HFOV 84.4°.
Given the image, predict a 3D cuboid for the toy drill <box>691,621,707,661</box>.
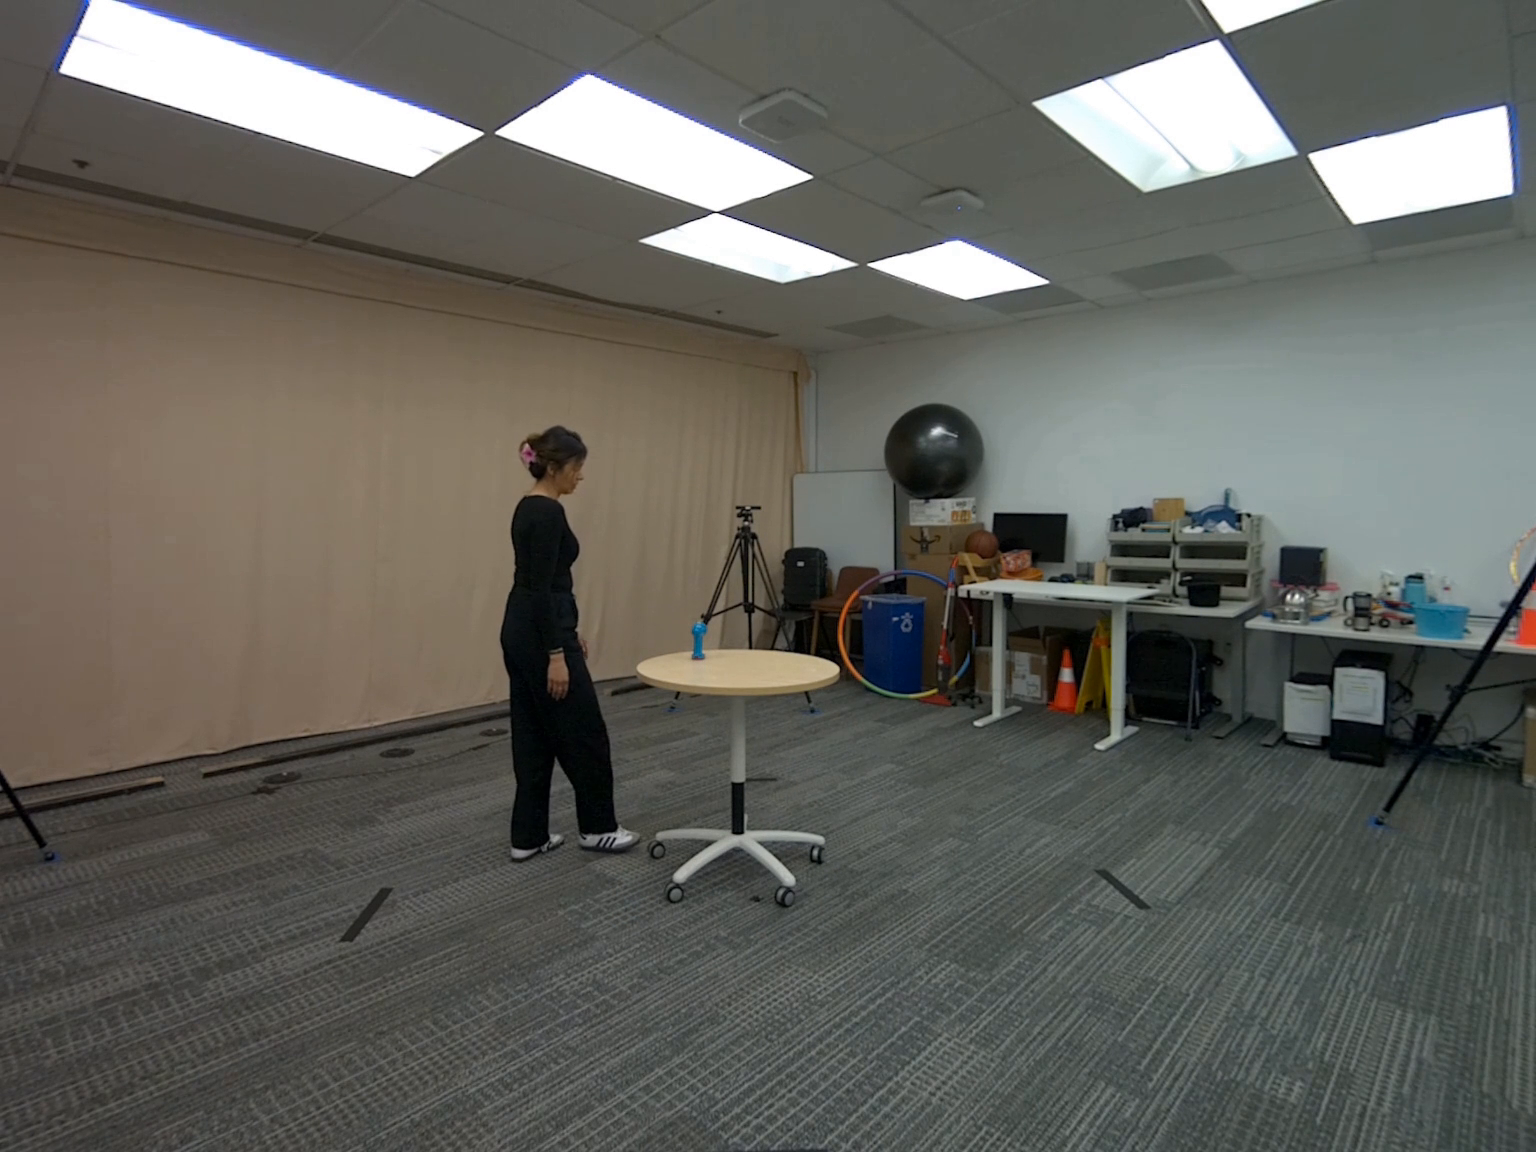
[{"bbox_3d":[-0.277,0.253,3.399,0.061,0.146,0.170,1,5,-1],"label":"toy drill"}]
